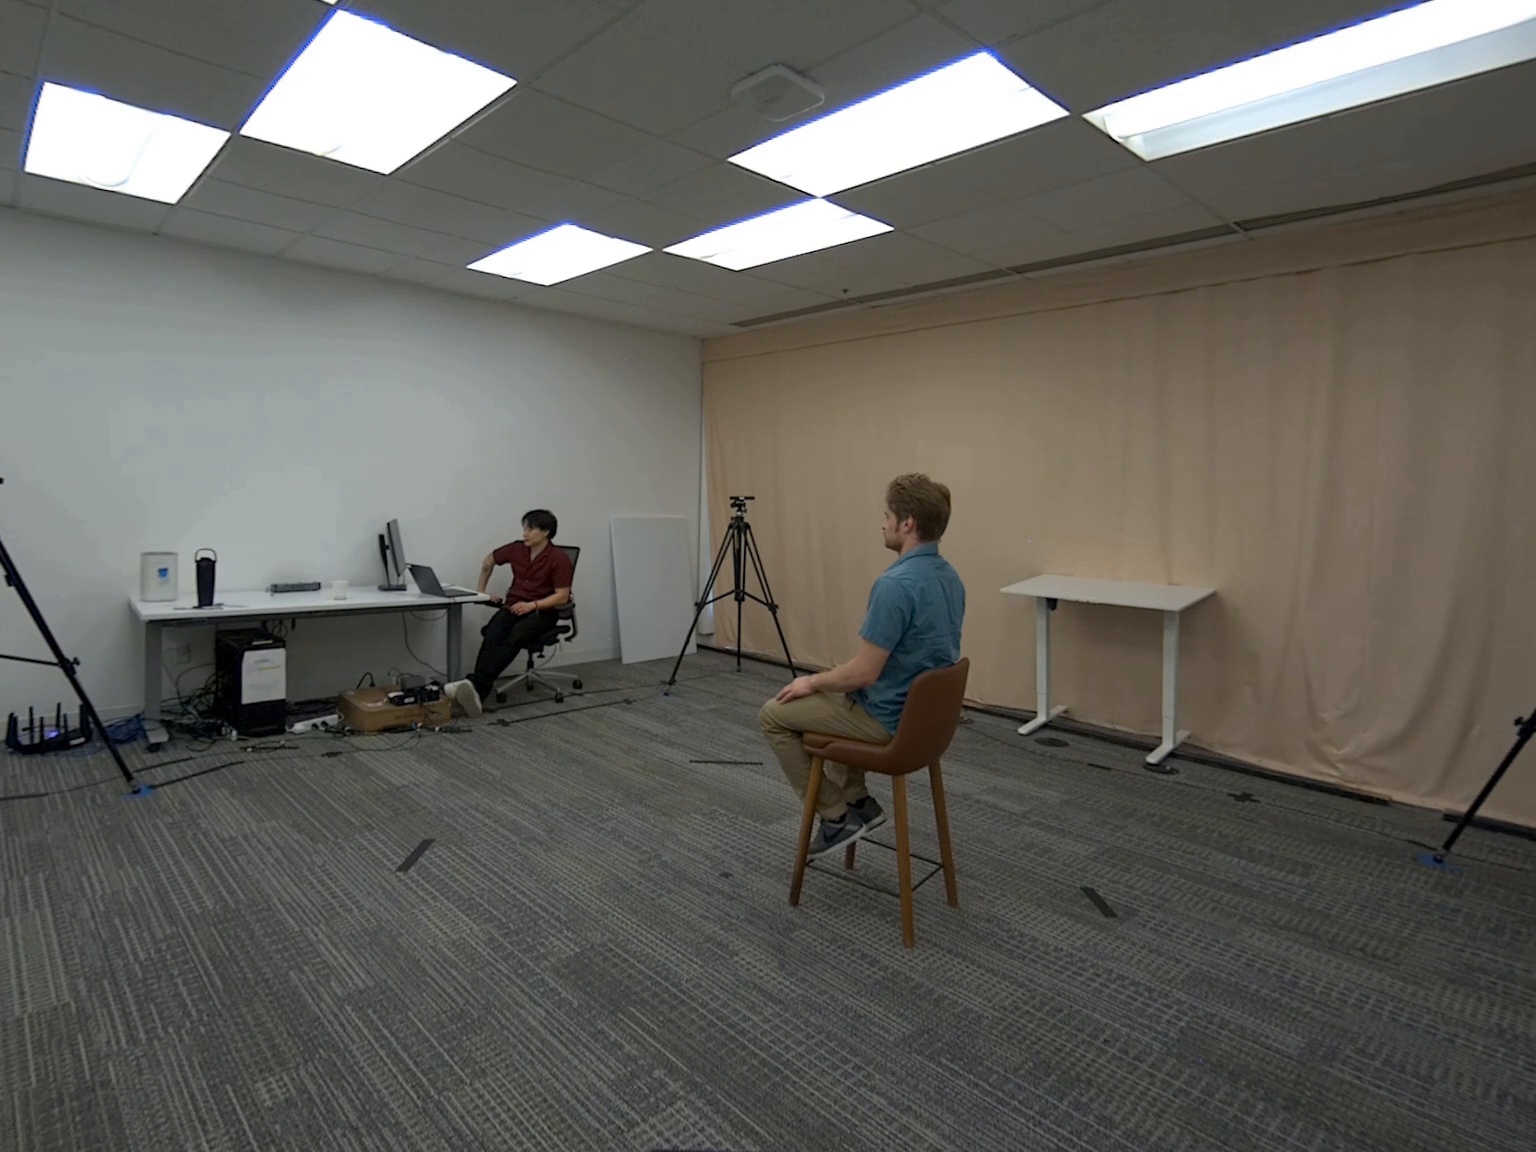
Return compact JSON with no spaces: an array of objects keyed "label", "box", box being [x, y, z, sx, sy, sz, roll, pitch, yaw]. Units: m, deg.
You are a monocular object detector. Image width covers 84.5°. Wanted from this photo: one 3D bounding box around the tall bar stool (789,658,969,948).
[{"label":"tall bar stool","box":[0.385,0.701,2.873,0.479,0.886,0.447,7,7,37]}]
